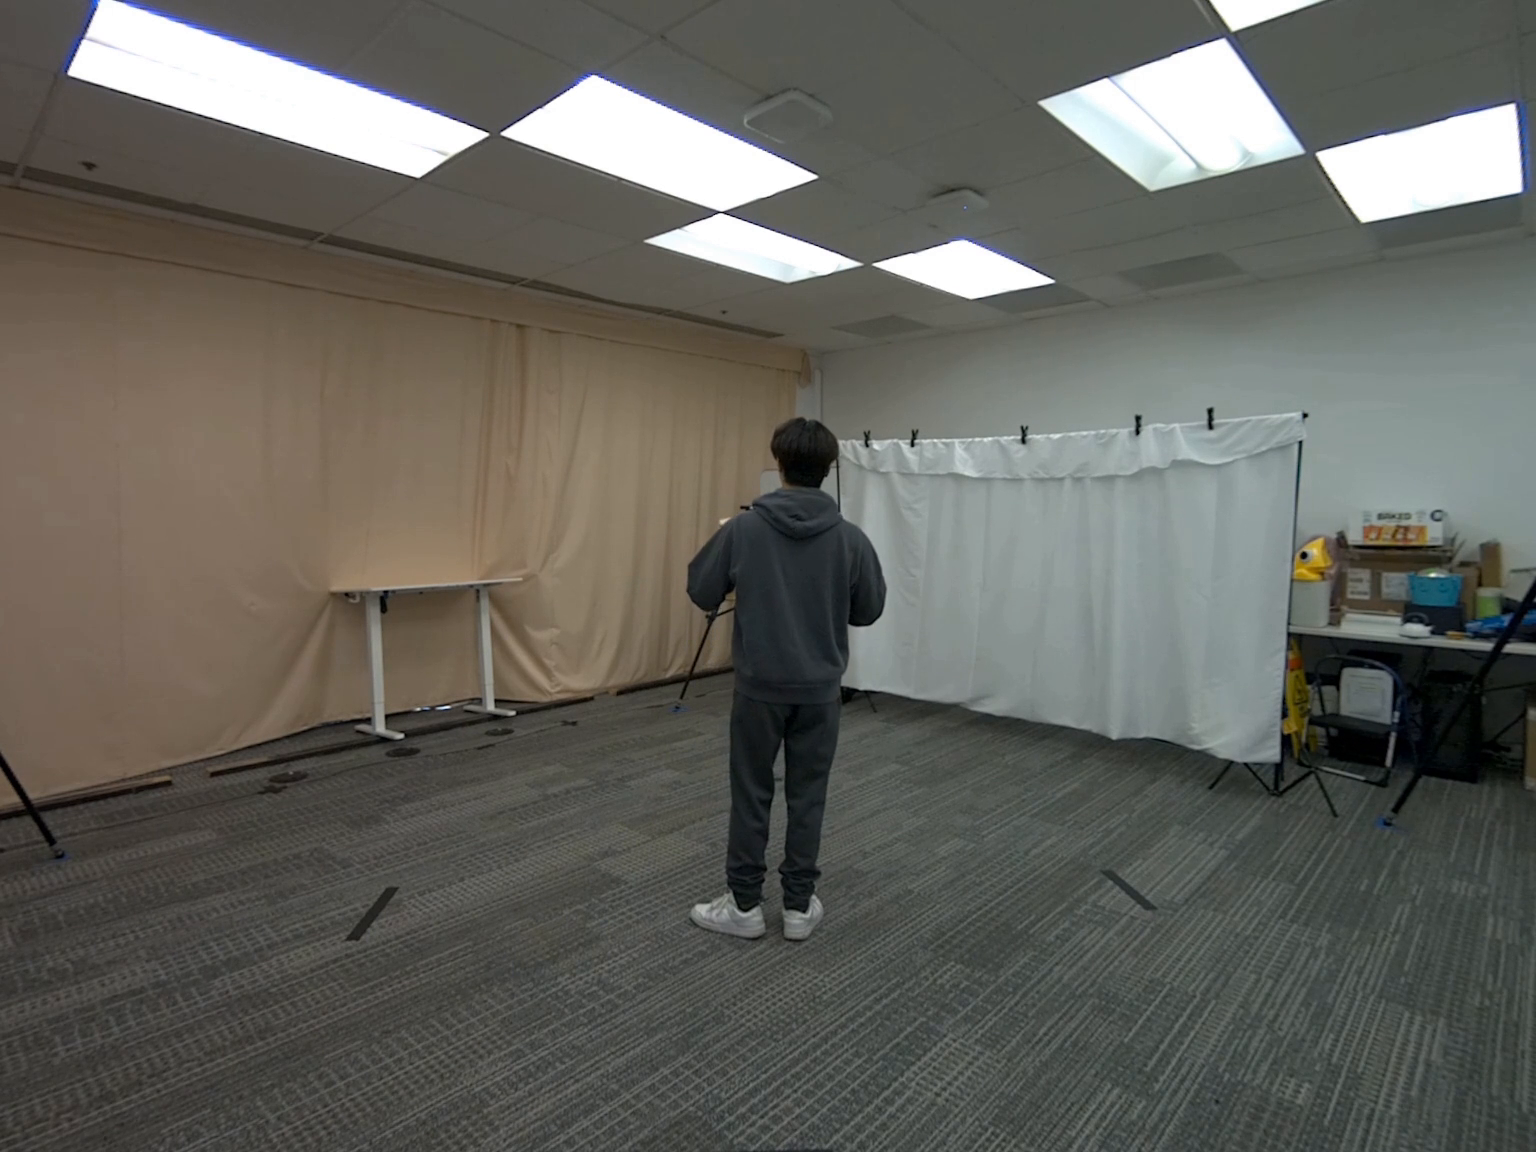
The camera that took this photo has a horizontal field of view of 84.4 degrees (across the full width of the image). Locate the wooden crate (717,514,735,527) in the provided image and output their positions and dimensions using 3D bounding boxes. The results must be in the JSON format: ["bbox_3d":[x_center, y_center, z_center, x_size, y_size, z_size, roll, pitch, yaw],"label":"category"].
[{"bbox_3d":[0.010,-0.043,3.058,0.295,0.320,0.283,-13,26,-29],"label":"wooden crate"}]
